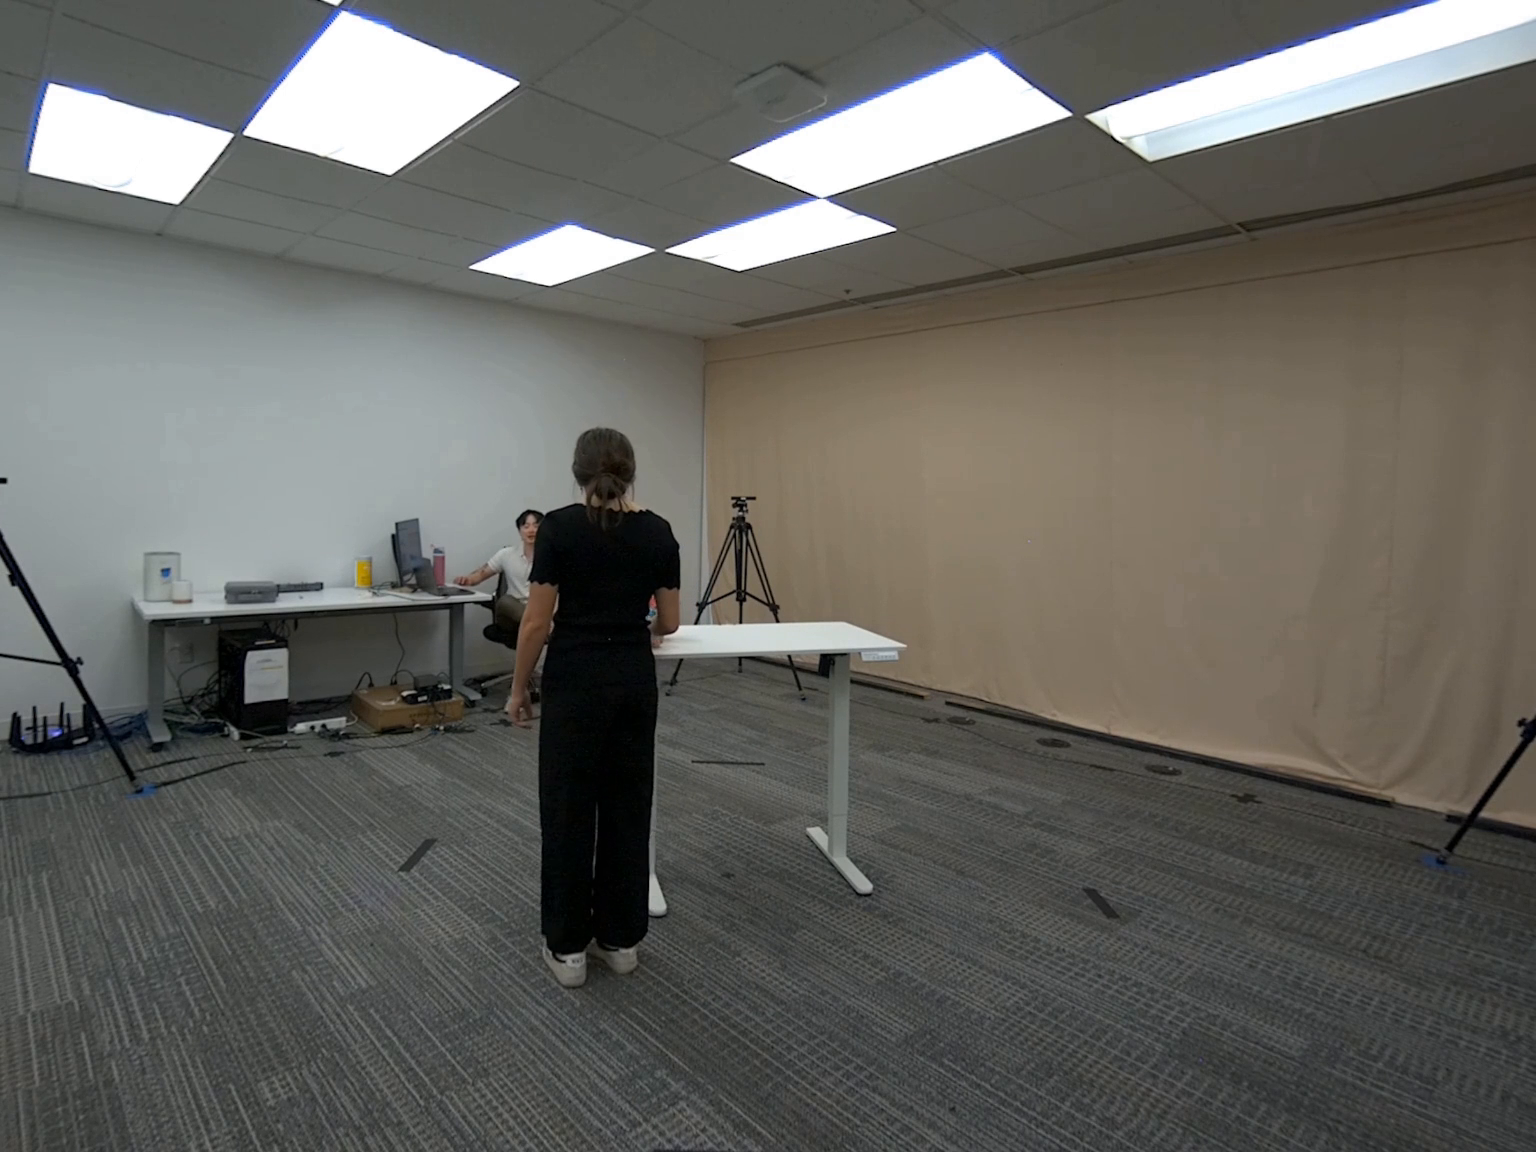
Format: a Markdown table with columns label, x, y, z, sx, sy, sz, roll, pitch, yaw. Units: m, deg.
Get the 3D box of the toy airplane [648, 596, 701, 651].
| label | x | y | z | sx | sy | sz | roll | pitch | yaw |
| --- | --- | --- | --- | --- | --- | --- | --- | --- | --- |
| toy airplane | -0.419 | 0.157 | 2.954 | 0.266 | 0.156 | 0.245 | 4 | 6 | 44 |
